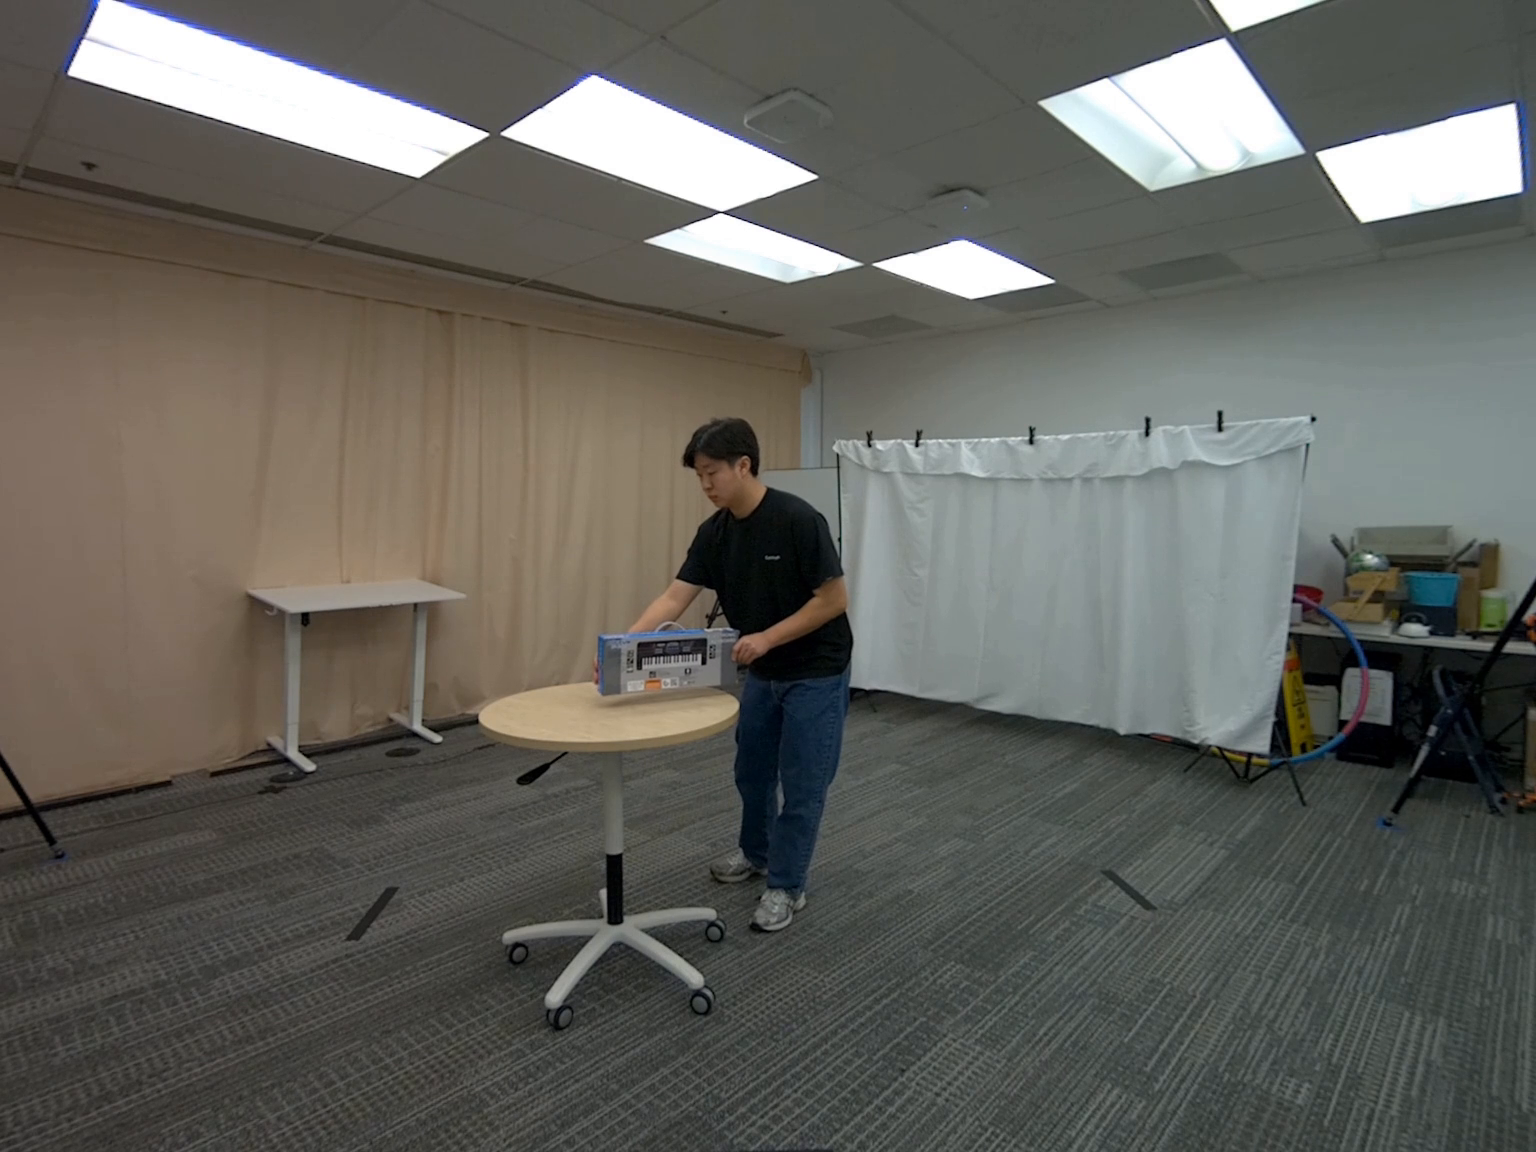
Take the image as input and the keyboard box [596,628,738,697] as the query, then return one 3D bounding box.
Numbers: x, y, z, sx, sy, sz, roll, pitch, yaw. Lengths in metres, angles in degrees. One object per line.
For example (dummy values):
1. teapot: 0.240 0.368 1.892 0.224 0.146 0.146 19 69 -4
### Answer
1. keyboard box: -0.297 0.263 2.574 0.427 0.175 0.061 -1 9 -22
